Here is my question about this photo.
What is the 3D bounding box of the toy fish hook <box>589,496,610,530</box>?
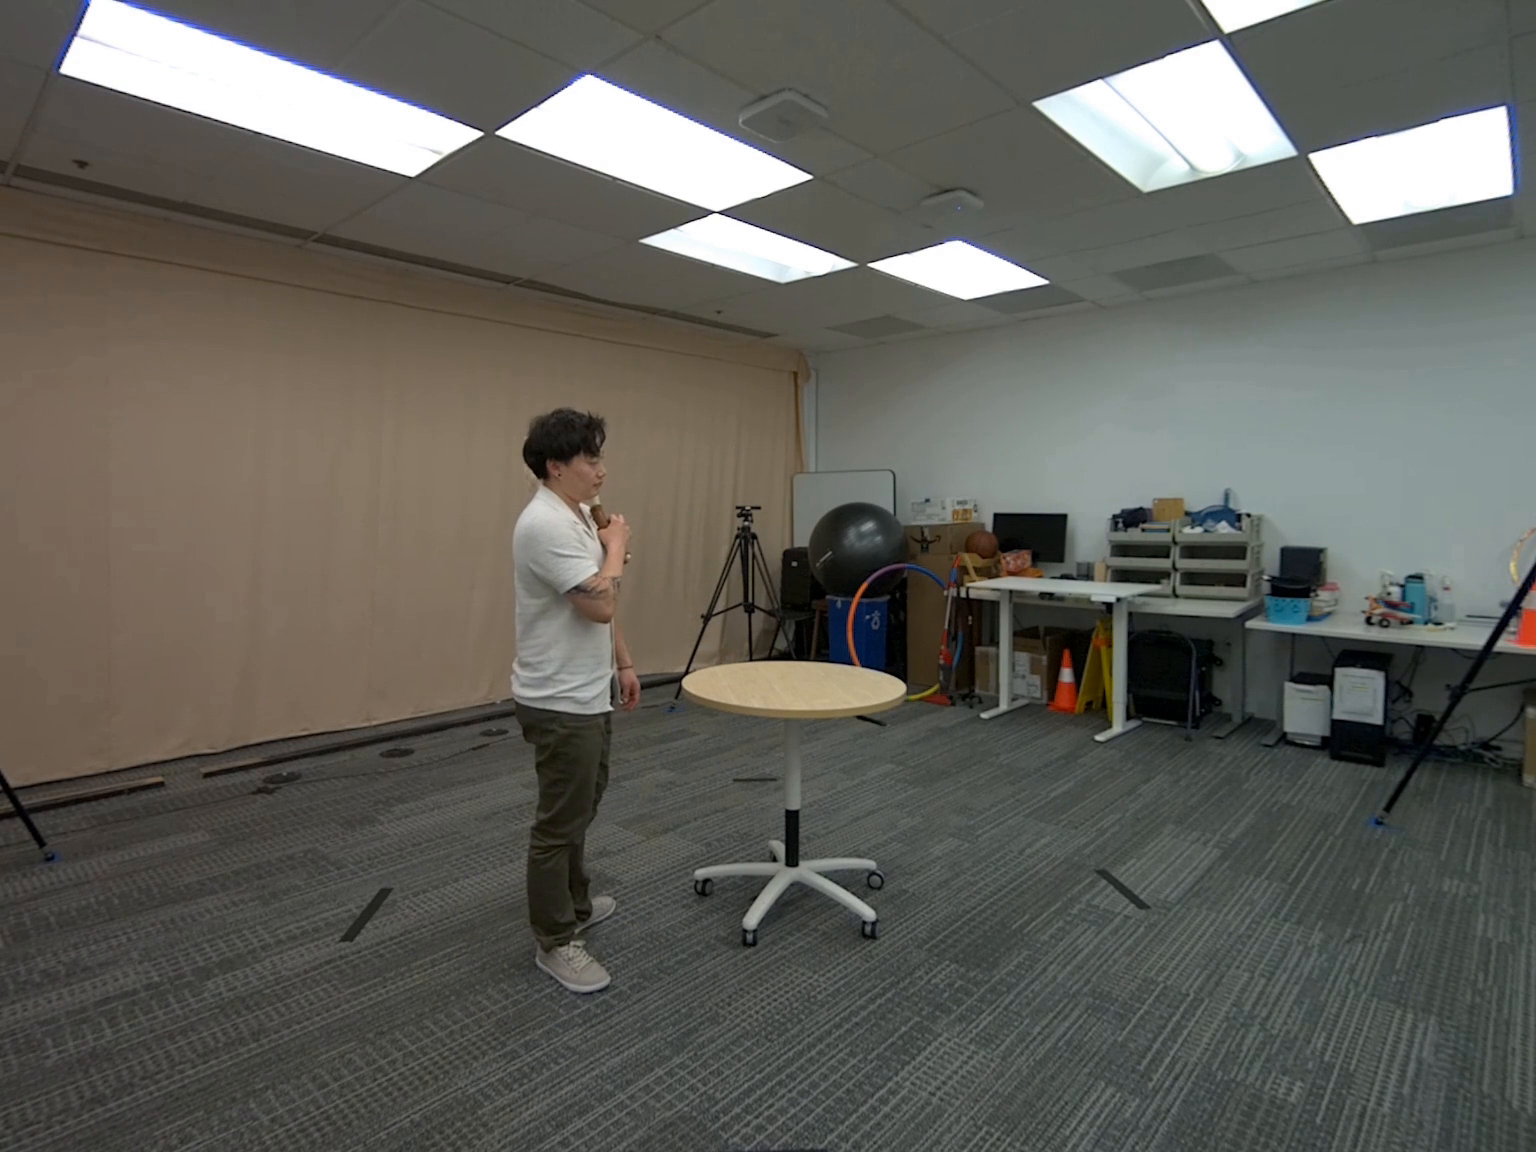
[{"bbox_3d":[-0.595,-0.237,2.586,0.226,0.511,0.047,-29,-9,9],"label":"toy fish hook"}]
